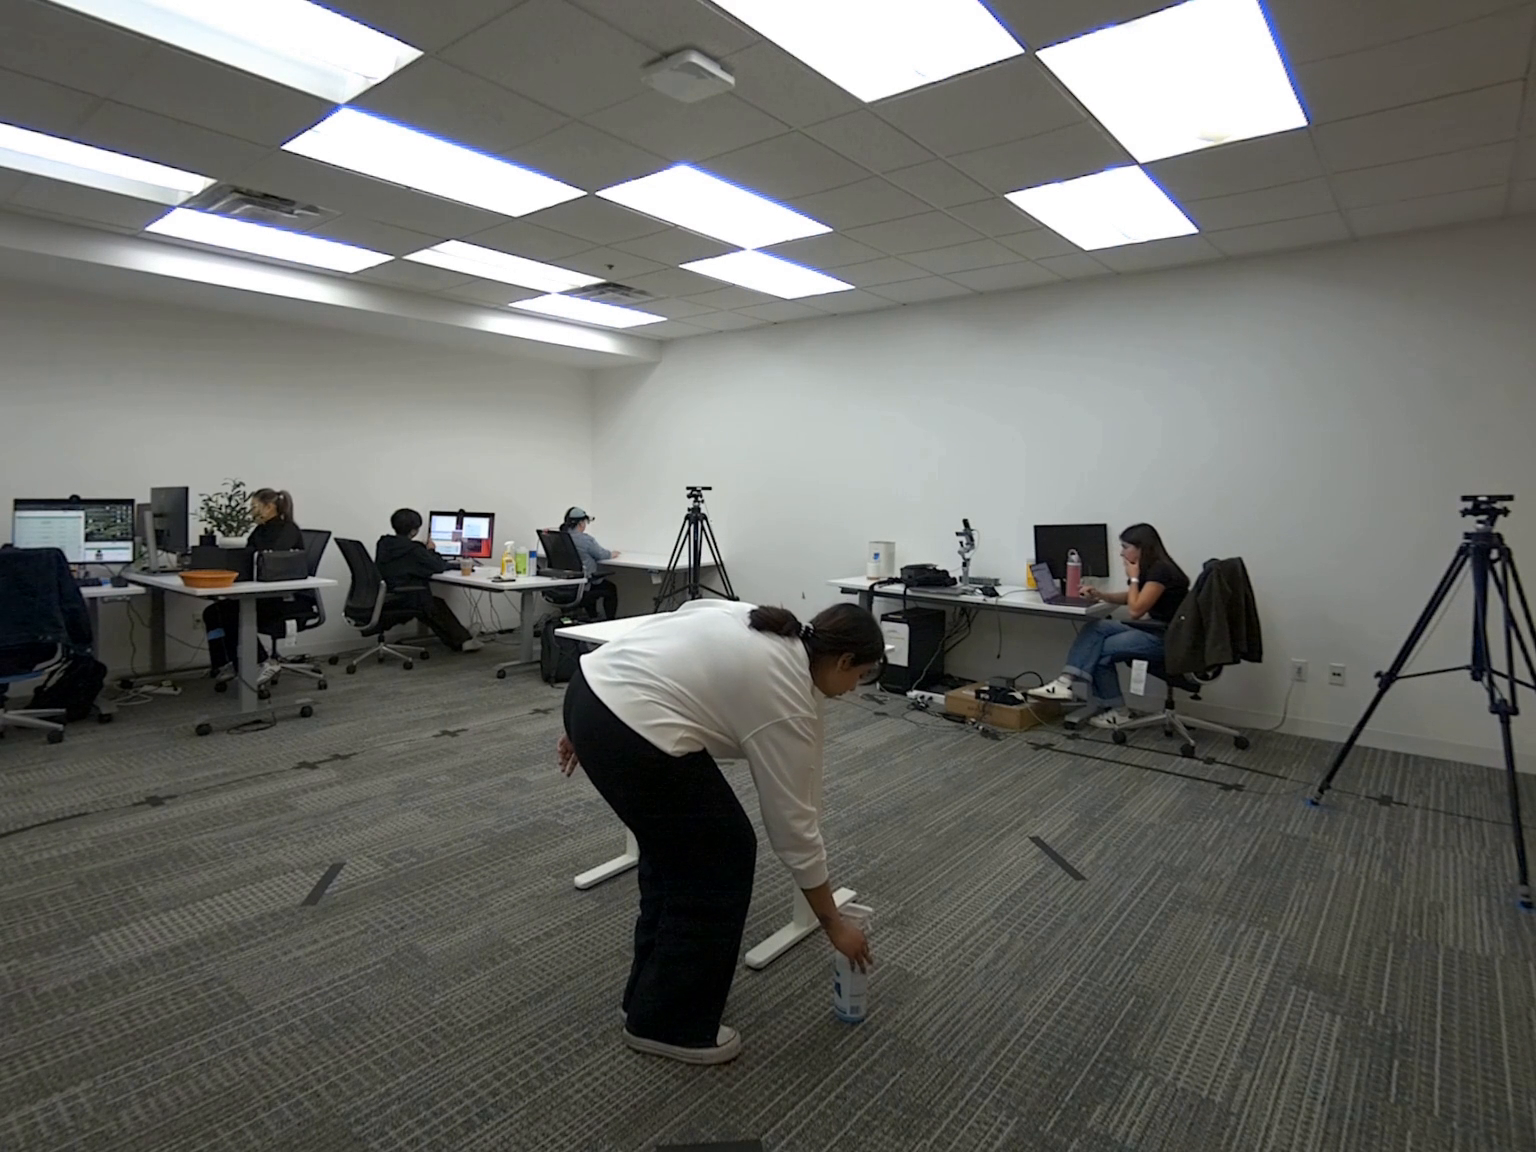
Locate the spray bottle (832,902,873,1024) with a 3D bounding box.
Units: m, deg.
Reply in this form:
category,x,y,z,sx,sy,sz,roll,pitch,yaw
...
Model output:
category,x,y,z,sx,sy,sz,roll,pitch,yaw
spray bottle,0.218,1.012,2.241,0.084,0.296,0.093,1,6,-39
